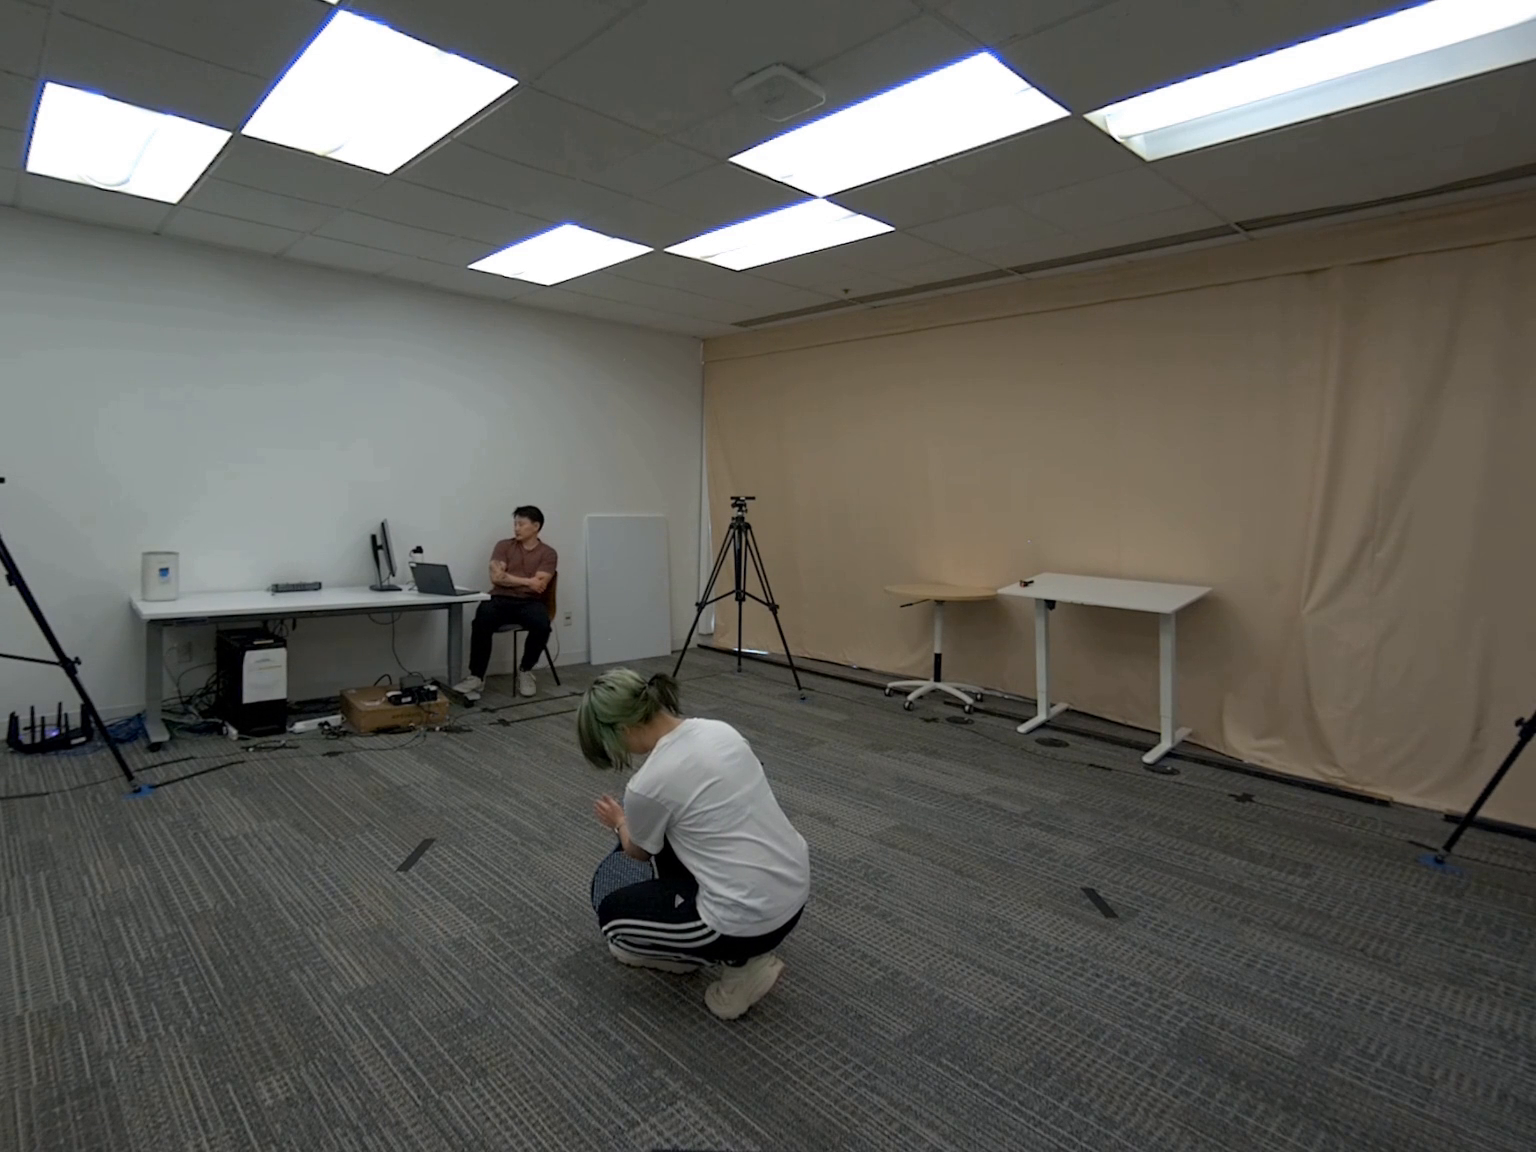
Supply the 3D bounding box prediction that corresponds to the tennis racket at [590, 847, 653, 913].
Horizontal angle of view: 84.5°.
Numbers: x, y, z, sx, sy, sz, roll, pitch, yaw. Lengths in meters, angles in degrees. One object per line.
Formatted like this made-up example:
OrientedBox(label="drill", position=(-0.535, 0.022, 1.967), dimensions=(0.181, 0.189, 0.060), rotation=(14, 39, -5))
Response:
OrientedBox(label="tennis racket", position=(-0.461, 0.921, 2.704), dimensions=(0.210, 0.431, 0.032), rotation=(4, 5, -22))
